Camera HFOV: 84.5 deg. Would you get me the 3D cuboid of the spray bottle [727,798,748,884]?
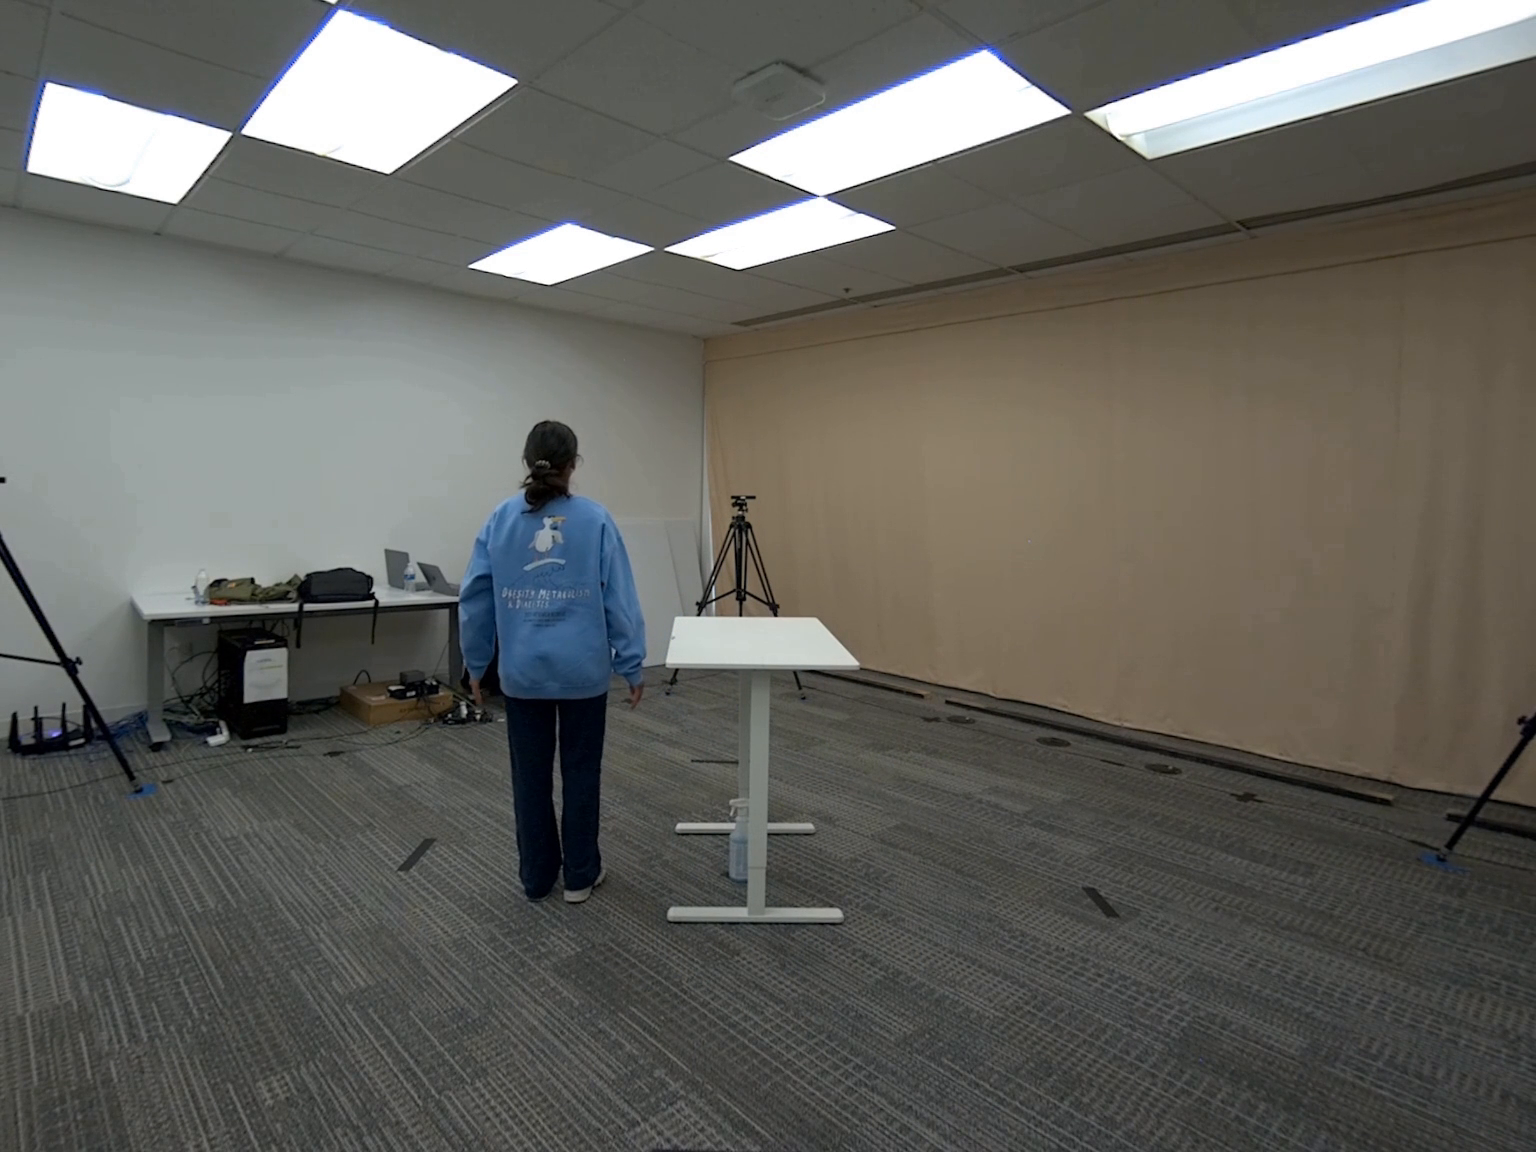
[{"bbox_3d":[-0.108,0.961,3.069,0.089,0.296,0.088,1,6,-7],"label":"spray bottle"}]
